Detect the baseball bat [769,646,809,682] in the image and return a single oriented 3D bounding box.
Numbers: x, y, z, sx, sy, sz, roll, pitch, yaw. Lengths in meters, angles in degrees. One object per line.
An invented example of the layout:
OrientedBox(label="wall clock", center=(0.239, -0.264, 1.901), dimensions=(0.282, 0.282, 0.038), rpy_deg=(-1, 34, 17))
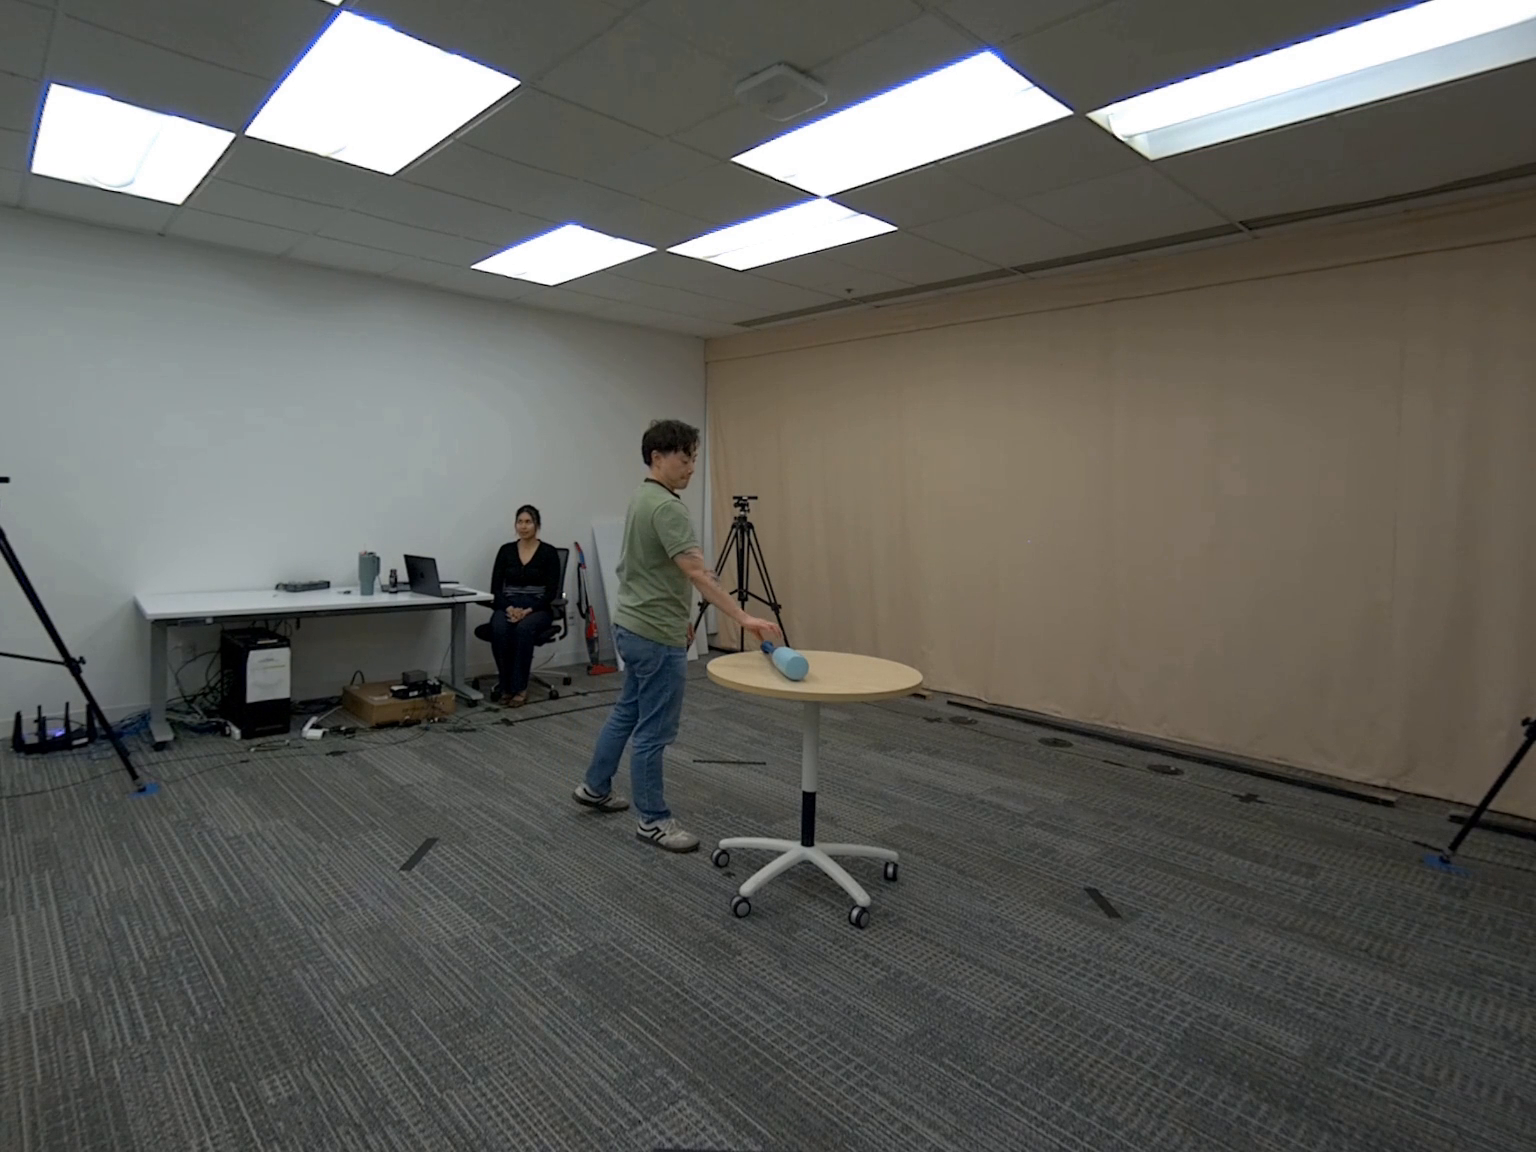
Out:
OrientedBox(label="baseball bat", center=(0.037, 0.292, 3.045), dimensions=(0.088, 0.089, 0.547), rpy_deg=(1, 3, -10))
